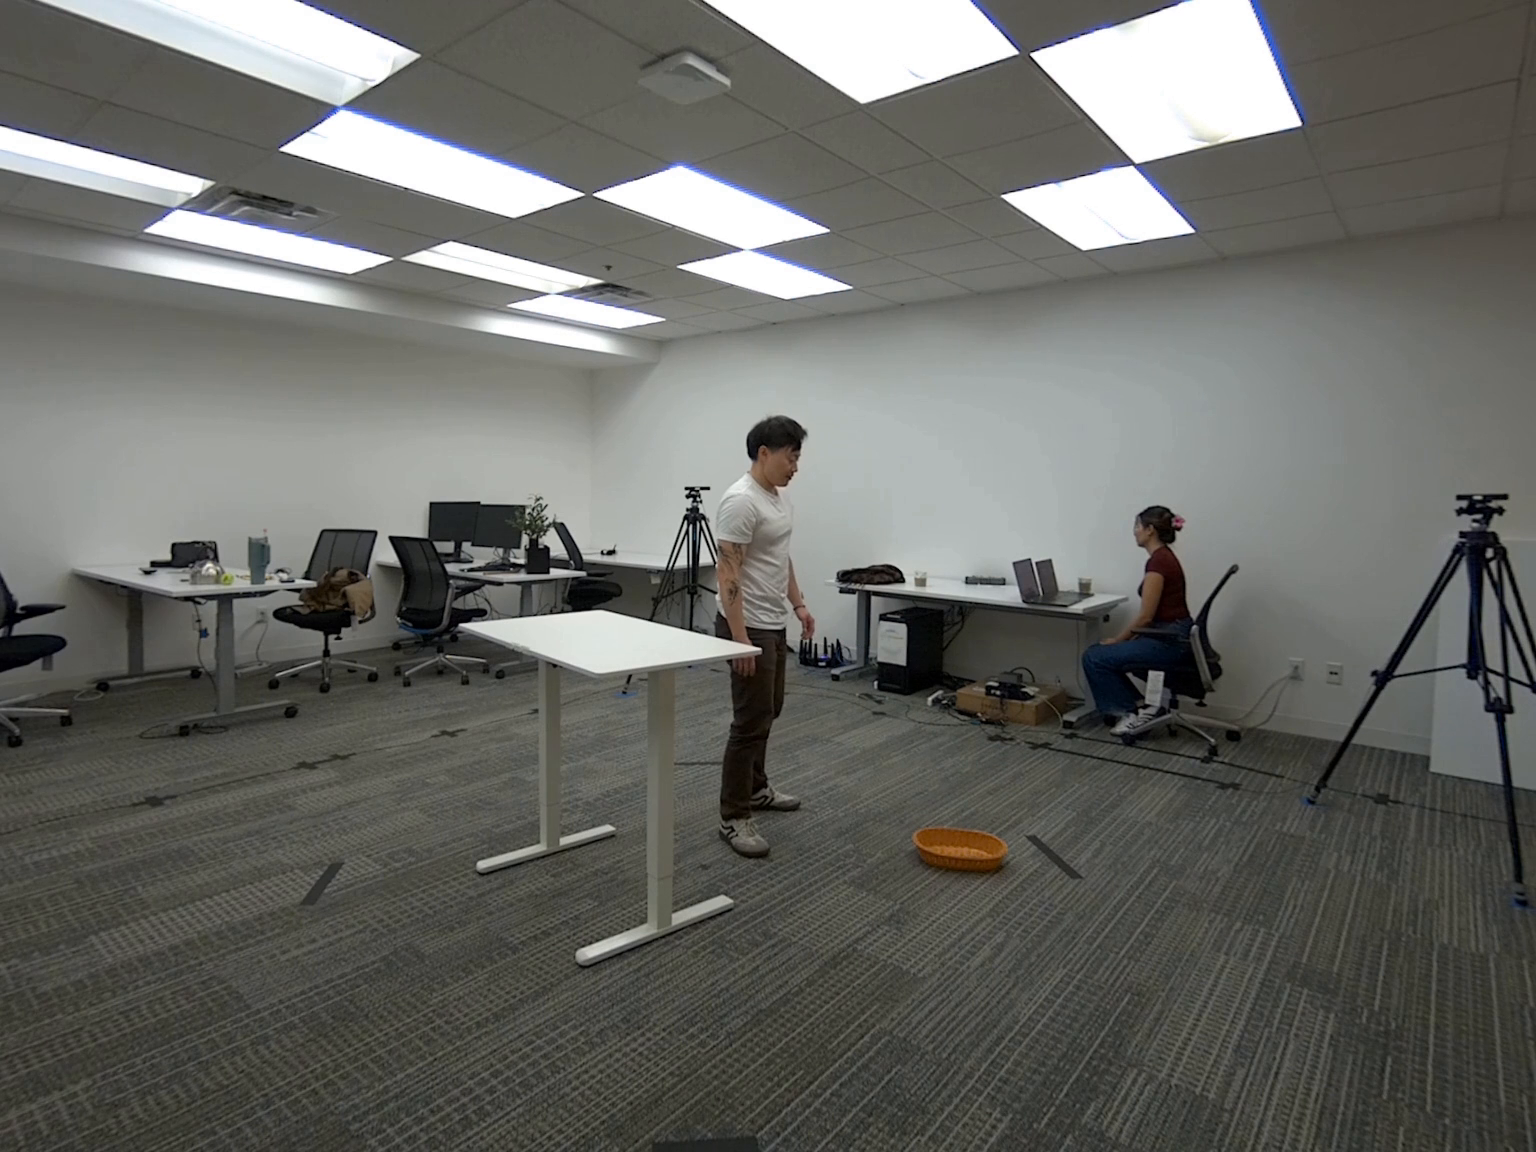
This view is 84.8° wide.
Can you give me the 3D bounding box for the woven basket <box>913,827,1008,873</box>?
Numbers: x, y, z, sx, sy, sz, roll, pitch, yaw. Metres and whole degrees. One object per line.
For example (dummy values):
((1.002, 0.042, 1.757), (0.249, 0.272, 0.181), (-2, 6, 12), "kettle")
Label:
((0.714, 1.033, 3.217), (0.354, 0.073, 0.251), (2, 7, 10), "woven basket")
